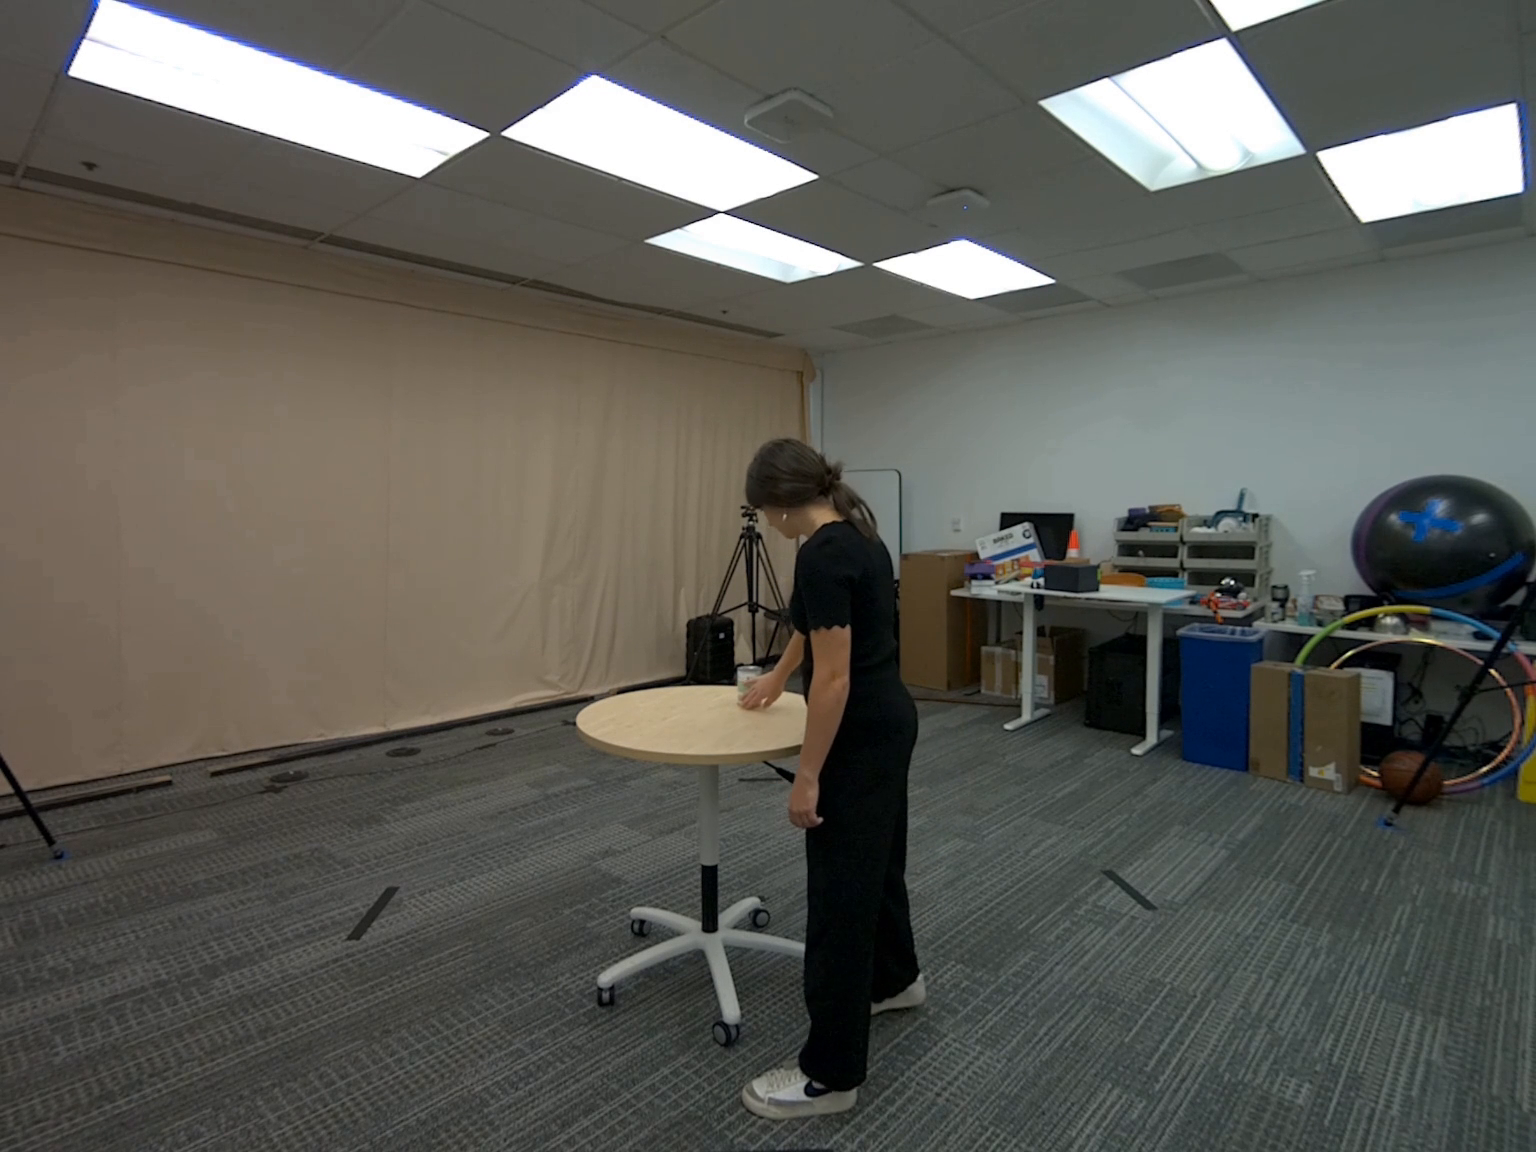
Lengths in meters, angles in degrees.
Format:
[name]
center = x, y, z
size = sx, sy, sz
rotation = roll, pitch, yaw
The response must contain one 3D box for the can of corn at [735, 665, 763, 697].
[can of corn]
center = -0.055, 0.340, 2.570
size = 0.074, 0.111, 0.074
rotation = 1, 5, -2
